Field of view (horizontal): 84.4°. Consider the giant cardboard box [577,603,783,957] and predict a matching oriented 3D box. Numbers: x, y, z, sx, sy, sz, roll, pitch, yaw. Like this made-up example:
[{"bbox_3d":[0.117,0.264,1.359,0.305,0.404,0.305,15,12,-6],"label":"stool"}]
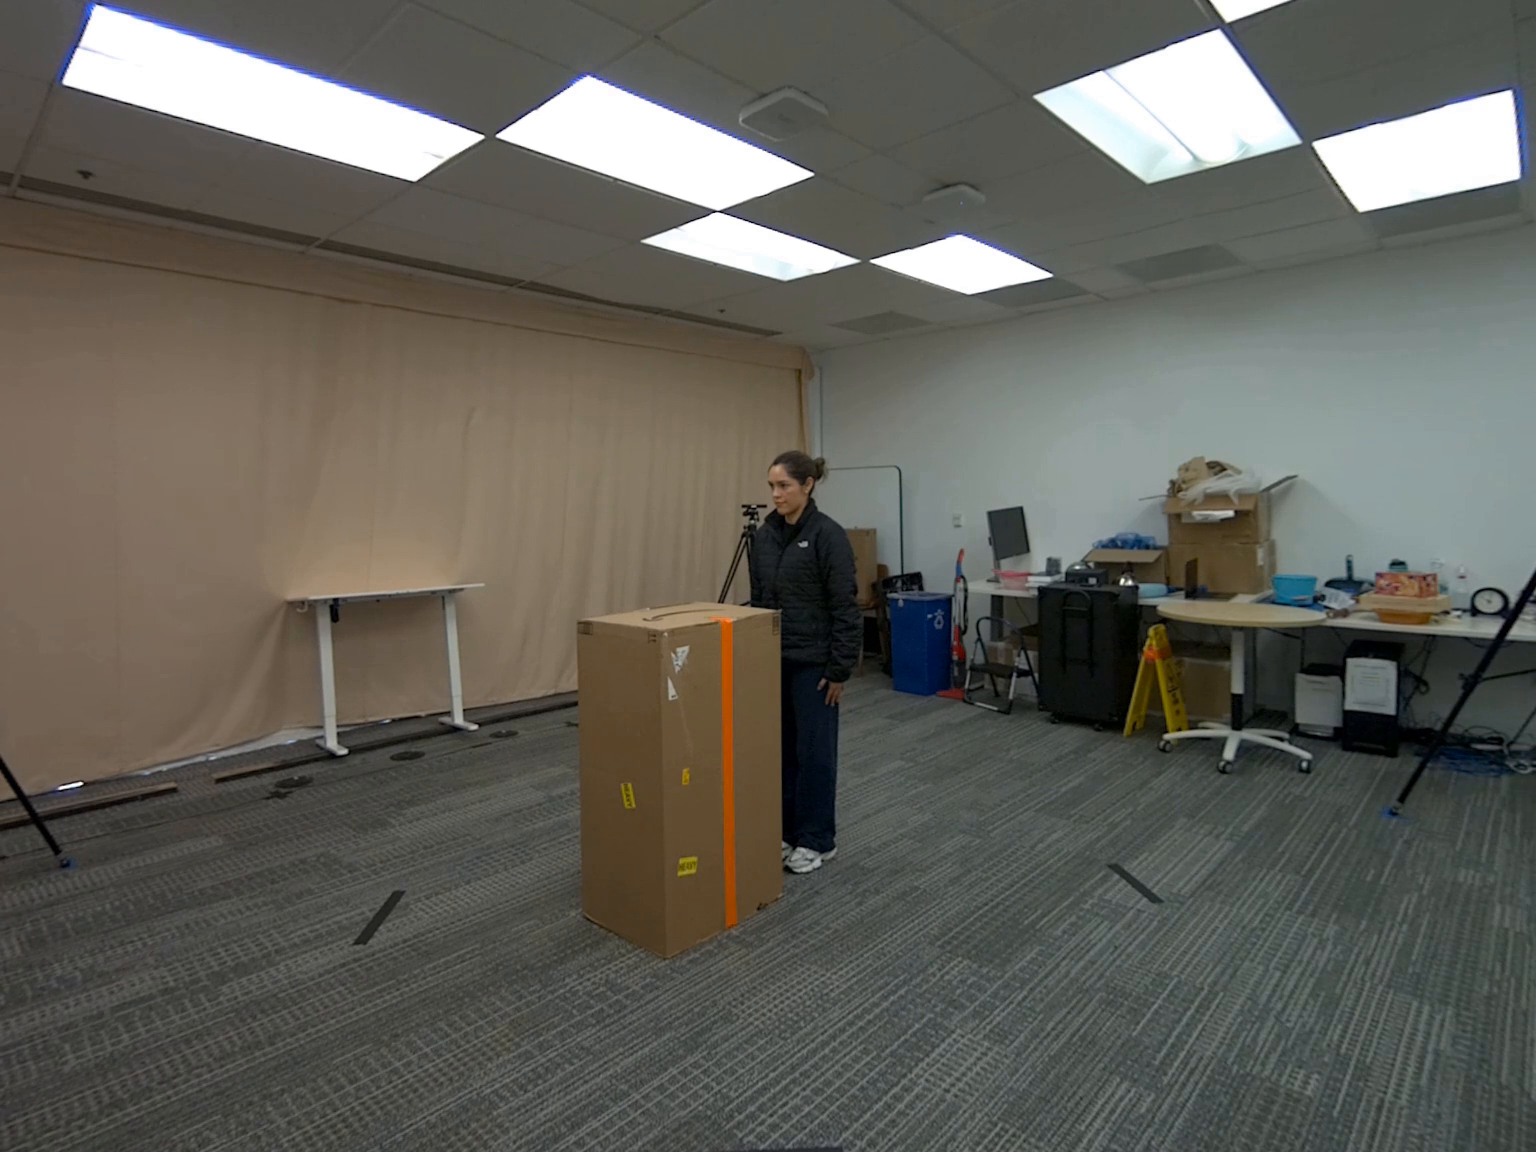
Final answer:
[{"bbox_3d":[-0.283,0.645,2.903,0.440,1.024,0.560,2,4,42],"label":"giant cardboard box"}]
